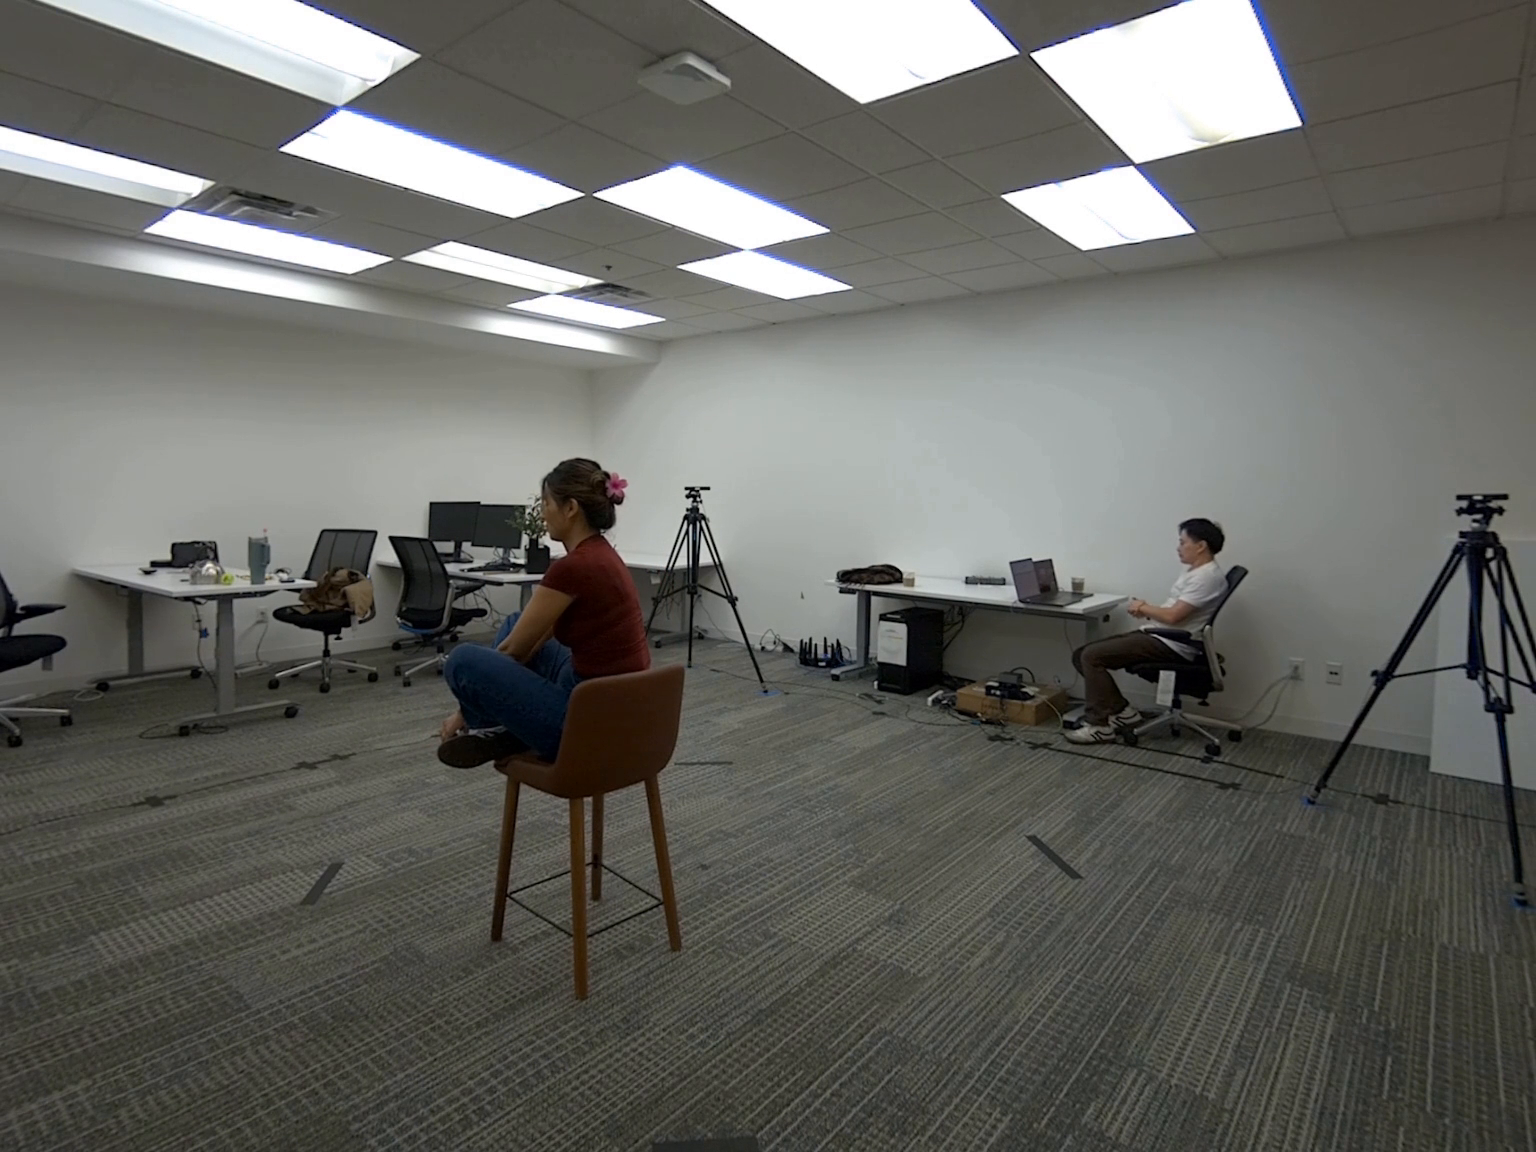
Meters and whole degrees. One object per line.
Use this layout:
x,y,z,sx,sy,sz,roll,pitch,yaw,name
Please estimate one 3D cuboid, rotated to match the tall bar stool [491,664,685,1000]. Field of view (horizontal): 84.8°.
-0.549,0.685,2.549,0.484,0.886,0.443,6,7,43,tall bar stool
